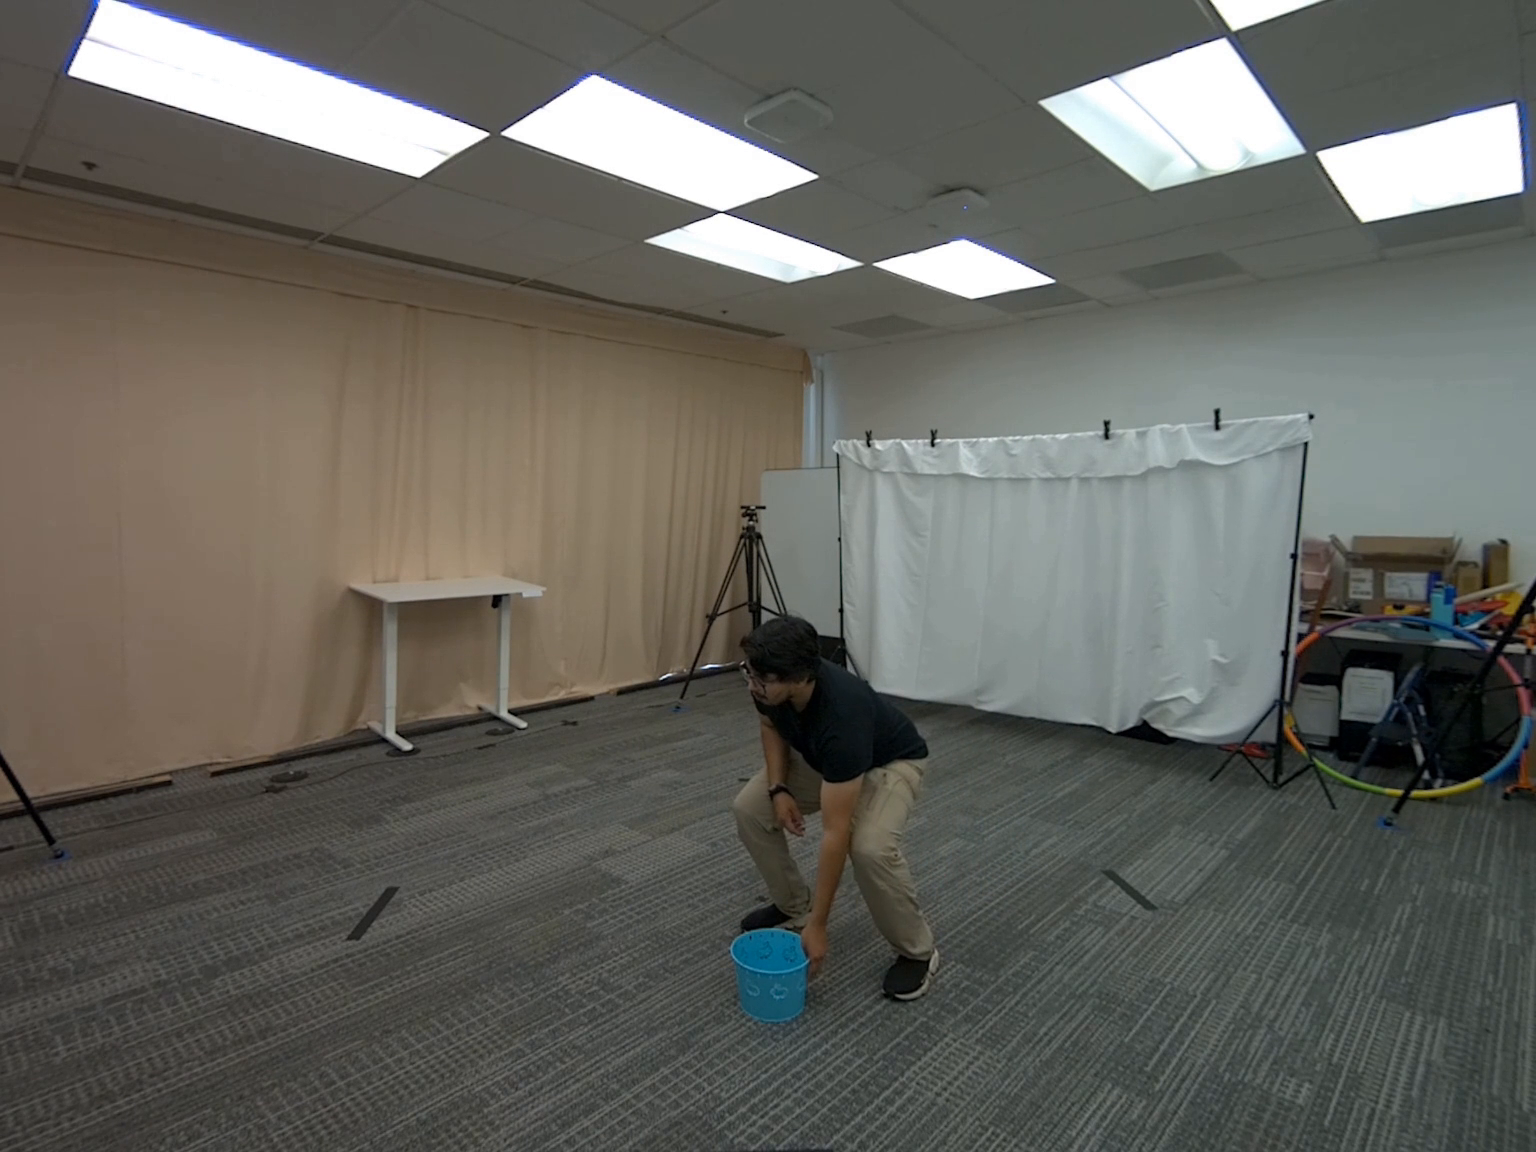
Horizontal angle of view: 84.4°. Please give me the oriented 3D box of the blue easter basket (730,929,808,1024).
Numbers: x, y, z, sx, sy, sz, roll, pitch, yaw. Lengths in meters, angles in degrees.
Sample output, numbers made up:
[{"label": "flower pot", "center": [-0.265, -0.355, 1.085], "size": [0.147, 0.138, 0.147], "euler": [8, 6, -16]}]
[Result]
[{"label": "blue easter basket", "center": [0.012, 1.118, 2.360], "size": [0.243, 0.156, 0.244], "euler": [-1, 3, -2]}]
